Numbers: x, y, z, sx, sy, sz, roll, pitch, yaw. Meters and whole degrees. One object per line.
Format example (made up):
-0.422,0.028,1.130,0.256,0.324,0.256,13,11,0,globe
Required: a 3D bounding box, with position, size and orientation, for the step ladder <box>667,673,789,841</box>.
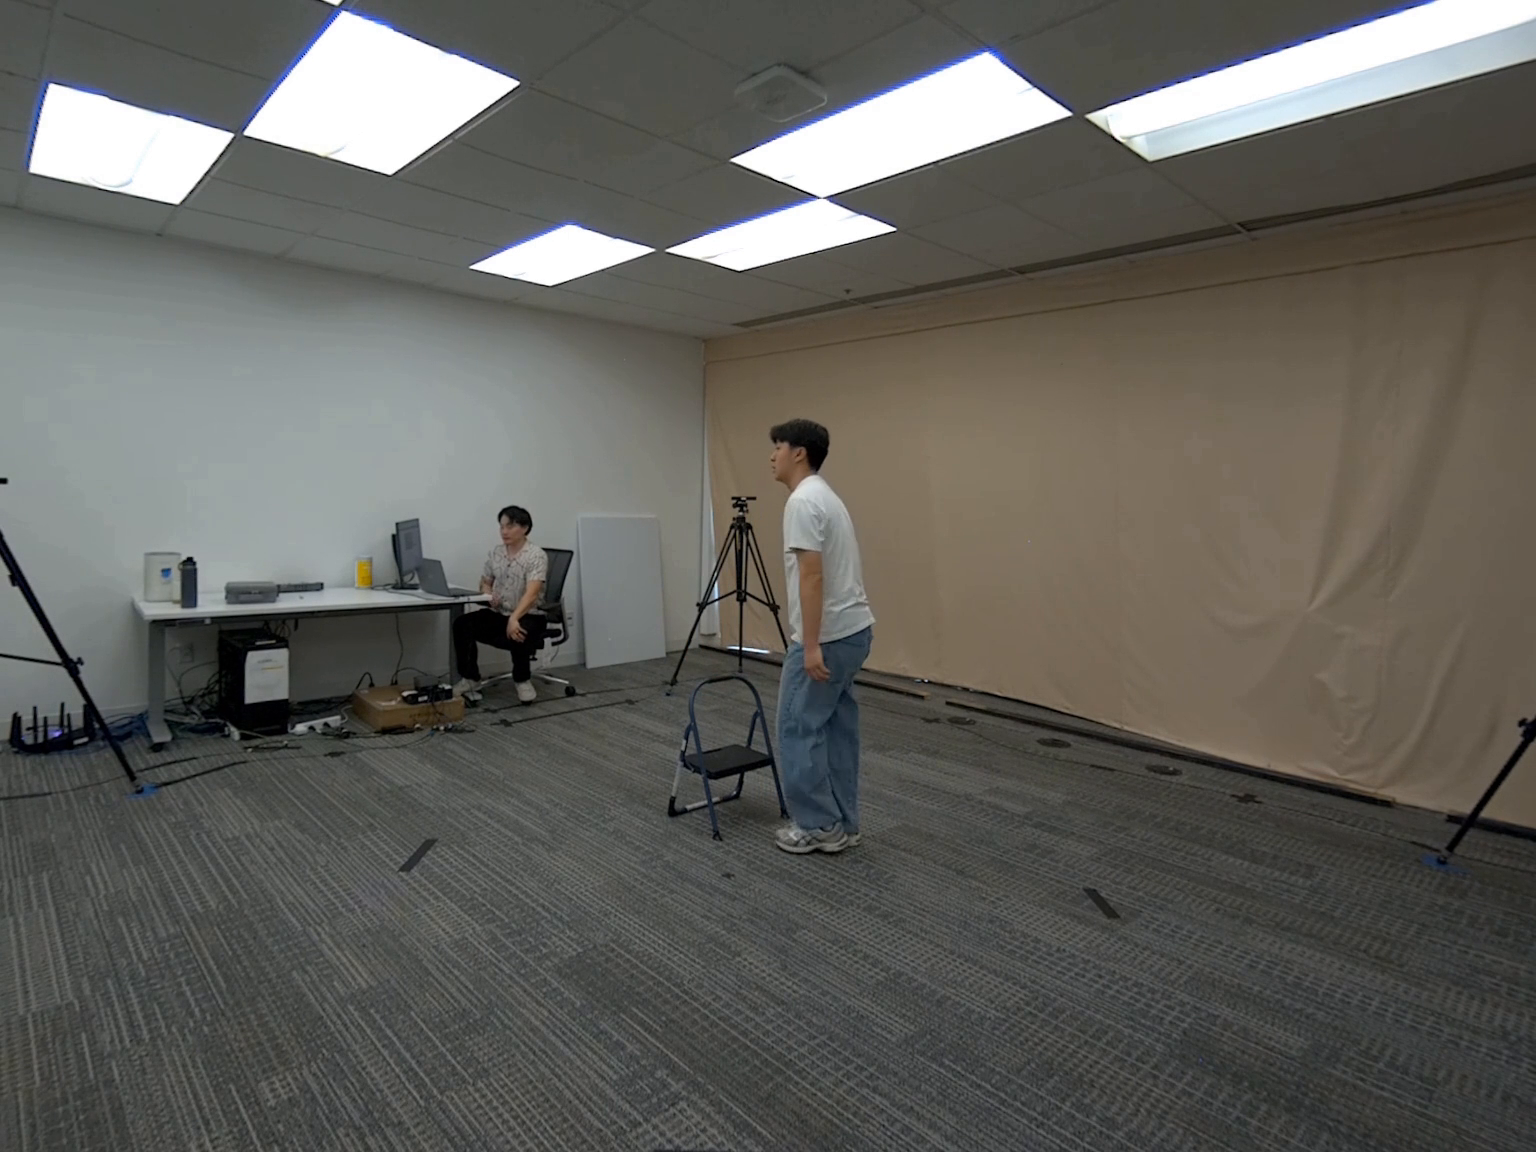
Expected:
-0.174,0.748,3.673,0.421,0.604,0.358,-1,5,-44,step ladder
